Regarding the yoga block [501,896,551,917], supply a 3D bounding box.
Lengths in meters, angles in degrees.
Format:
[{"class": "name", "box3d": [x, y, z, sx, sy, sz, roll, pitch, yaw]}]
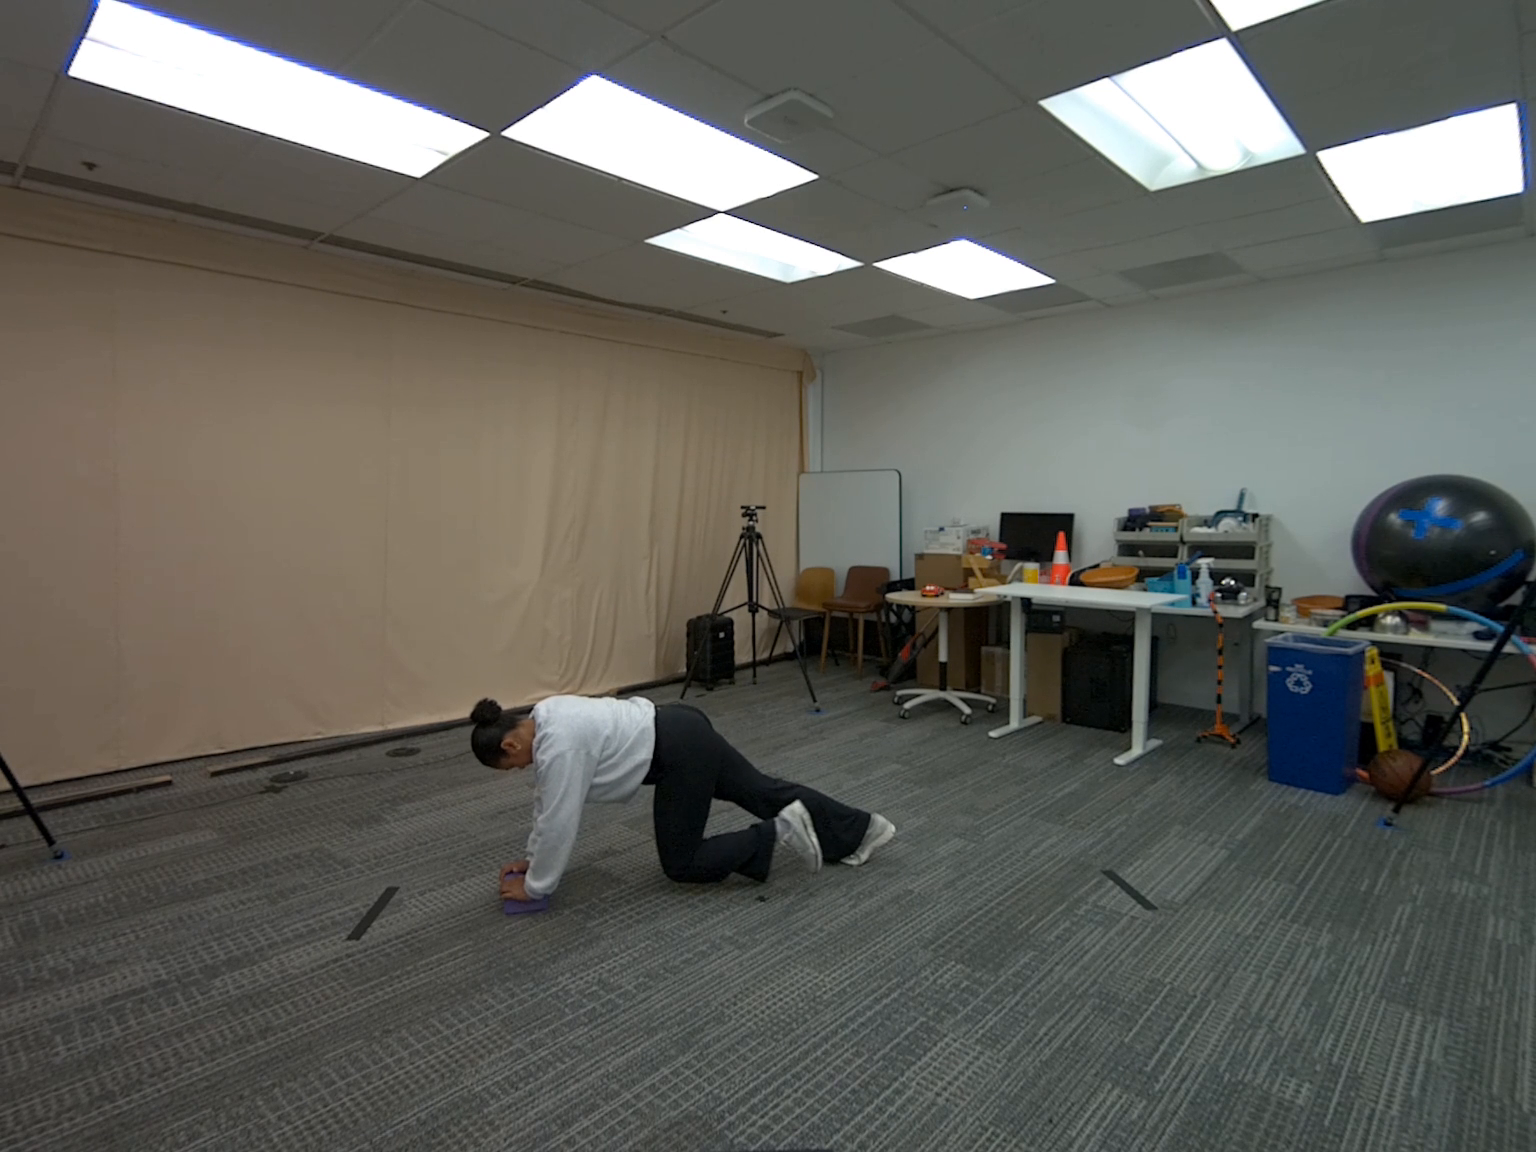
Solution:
[{"class": "yoga block", "box3d": [-0.867, 1.124, 2.999, 0.146, 0.076, 0.234, -1, 4, -17]}]
